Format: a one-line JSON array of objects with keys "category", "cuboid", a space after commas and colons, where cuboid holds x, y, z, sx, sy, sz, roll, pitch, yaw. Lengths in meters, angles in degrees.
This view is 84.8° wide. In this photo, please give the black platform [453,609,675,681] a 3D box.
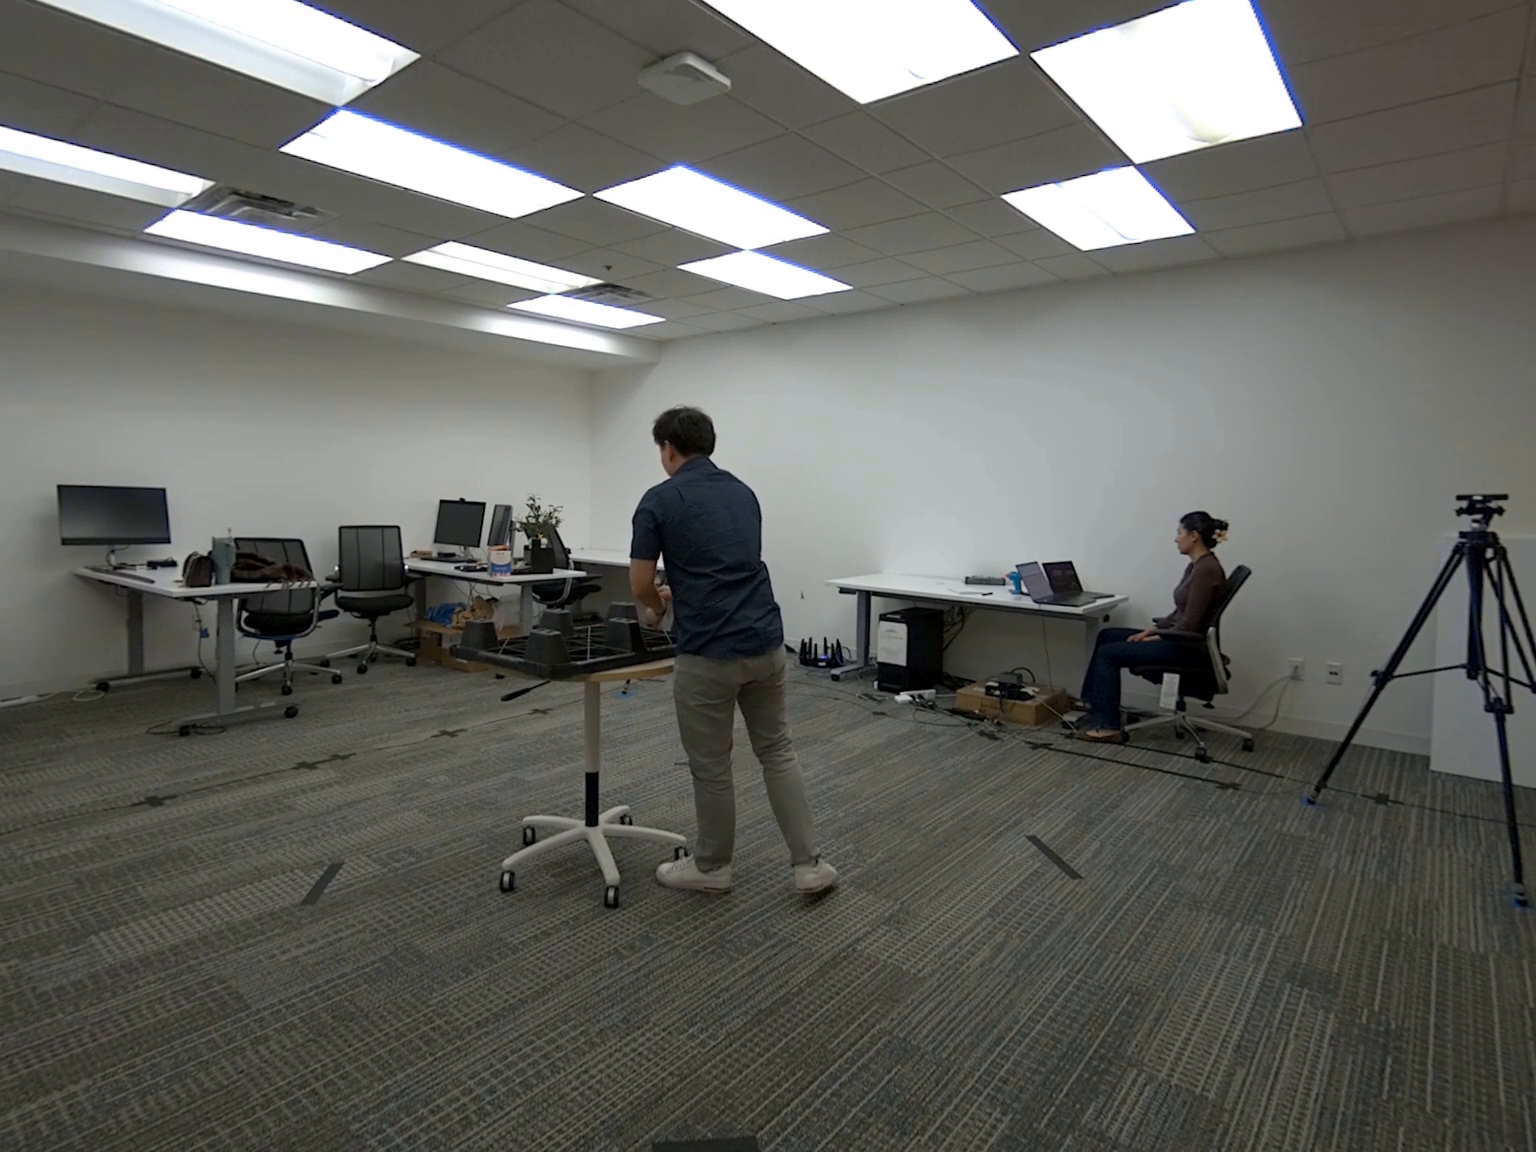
[{"category": "black platform", "cuboid": [-0.668, 0.212, 3.114, 0.625, 0.143, 0.782, 5, 7, 39]}]
